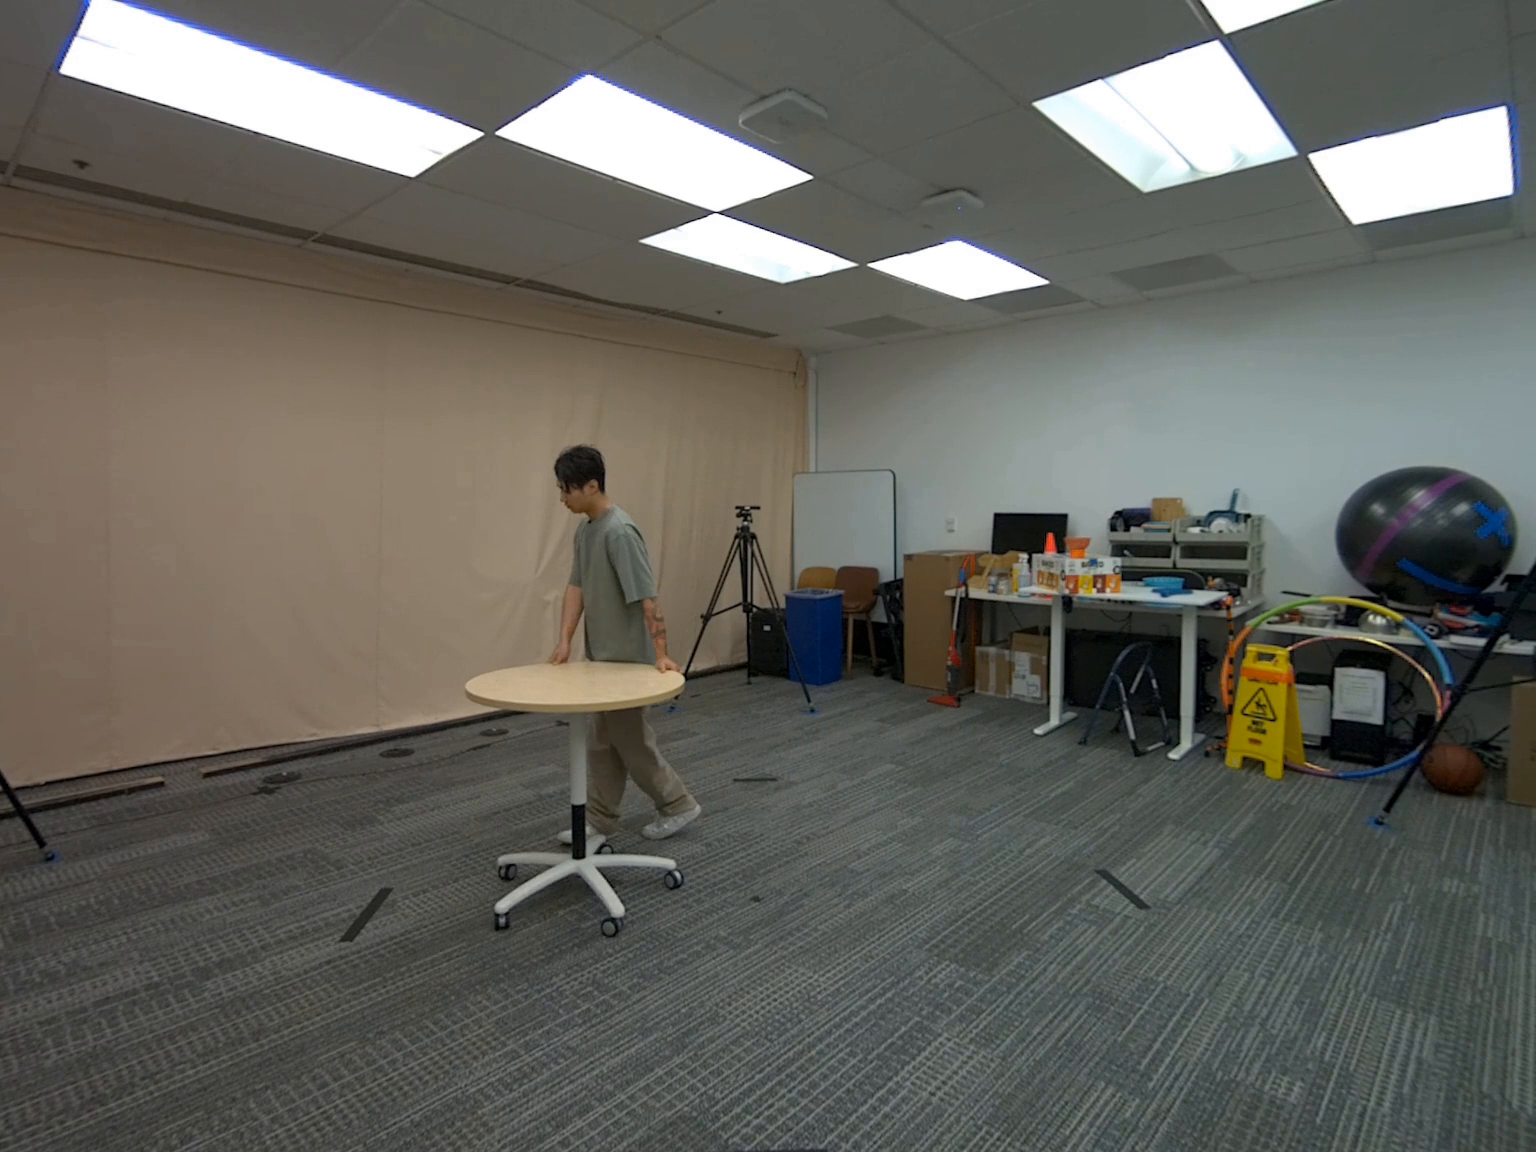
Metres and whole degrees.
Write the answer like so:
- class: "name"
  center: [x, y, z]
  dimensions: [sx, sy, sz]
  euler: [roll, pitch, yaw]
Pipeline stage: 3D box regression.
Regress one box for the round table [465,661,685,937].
- class: "round table"
  center: [-0.681, 0.755, 2.995]
  dimensions: [0.784, 0.785, 0.787]
  euler: [0, 2, -2]
